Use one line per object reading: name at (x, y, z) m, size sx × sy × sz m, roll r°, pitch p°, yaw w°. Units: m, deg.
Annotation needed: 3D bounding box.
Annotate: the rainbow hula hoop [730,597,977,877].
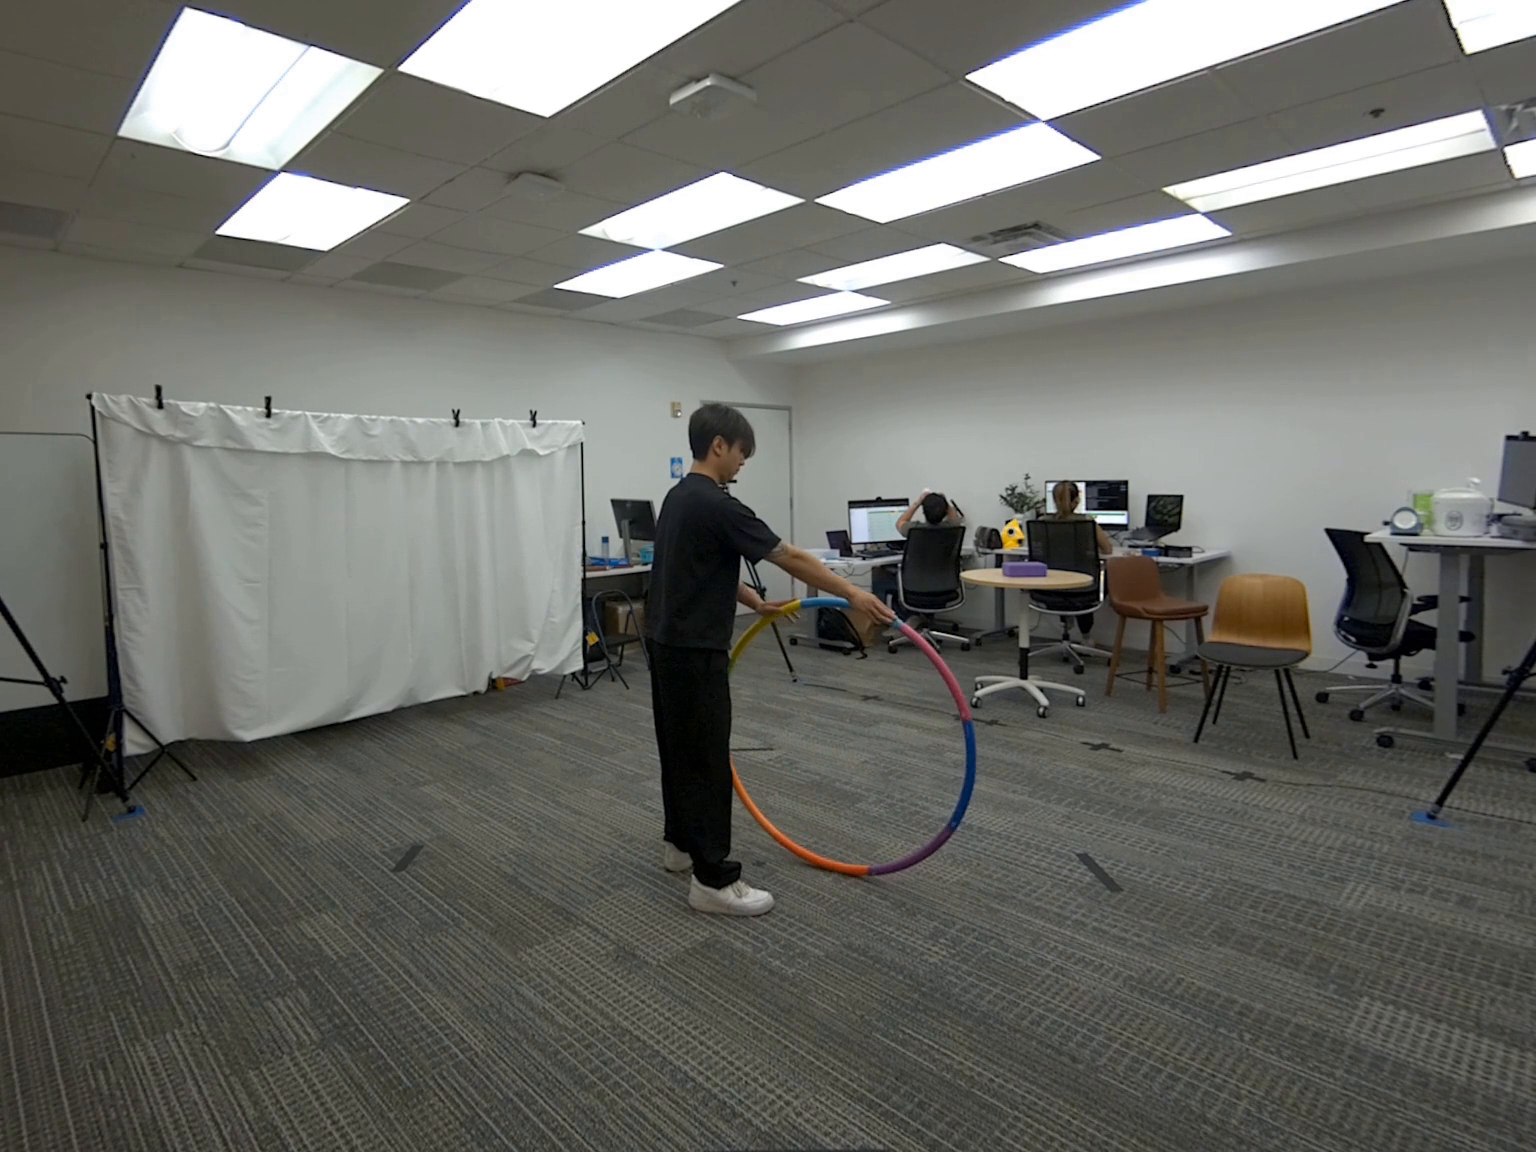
rainbow hula hoop at (0.234, 0.568, 2.998) m, size 1.005 × 0.974 × 0.035 m, roll 2°, pitch 6°, yaw 32°
